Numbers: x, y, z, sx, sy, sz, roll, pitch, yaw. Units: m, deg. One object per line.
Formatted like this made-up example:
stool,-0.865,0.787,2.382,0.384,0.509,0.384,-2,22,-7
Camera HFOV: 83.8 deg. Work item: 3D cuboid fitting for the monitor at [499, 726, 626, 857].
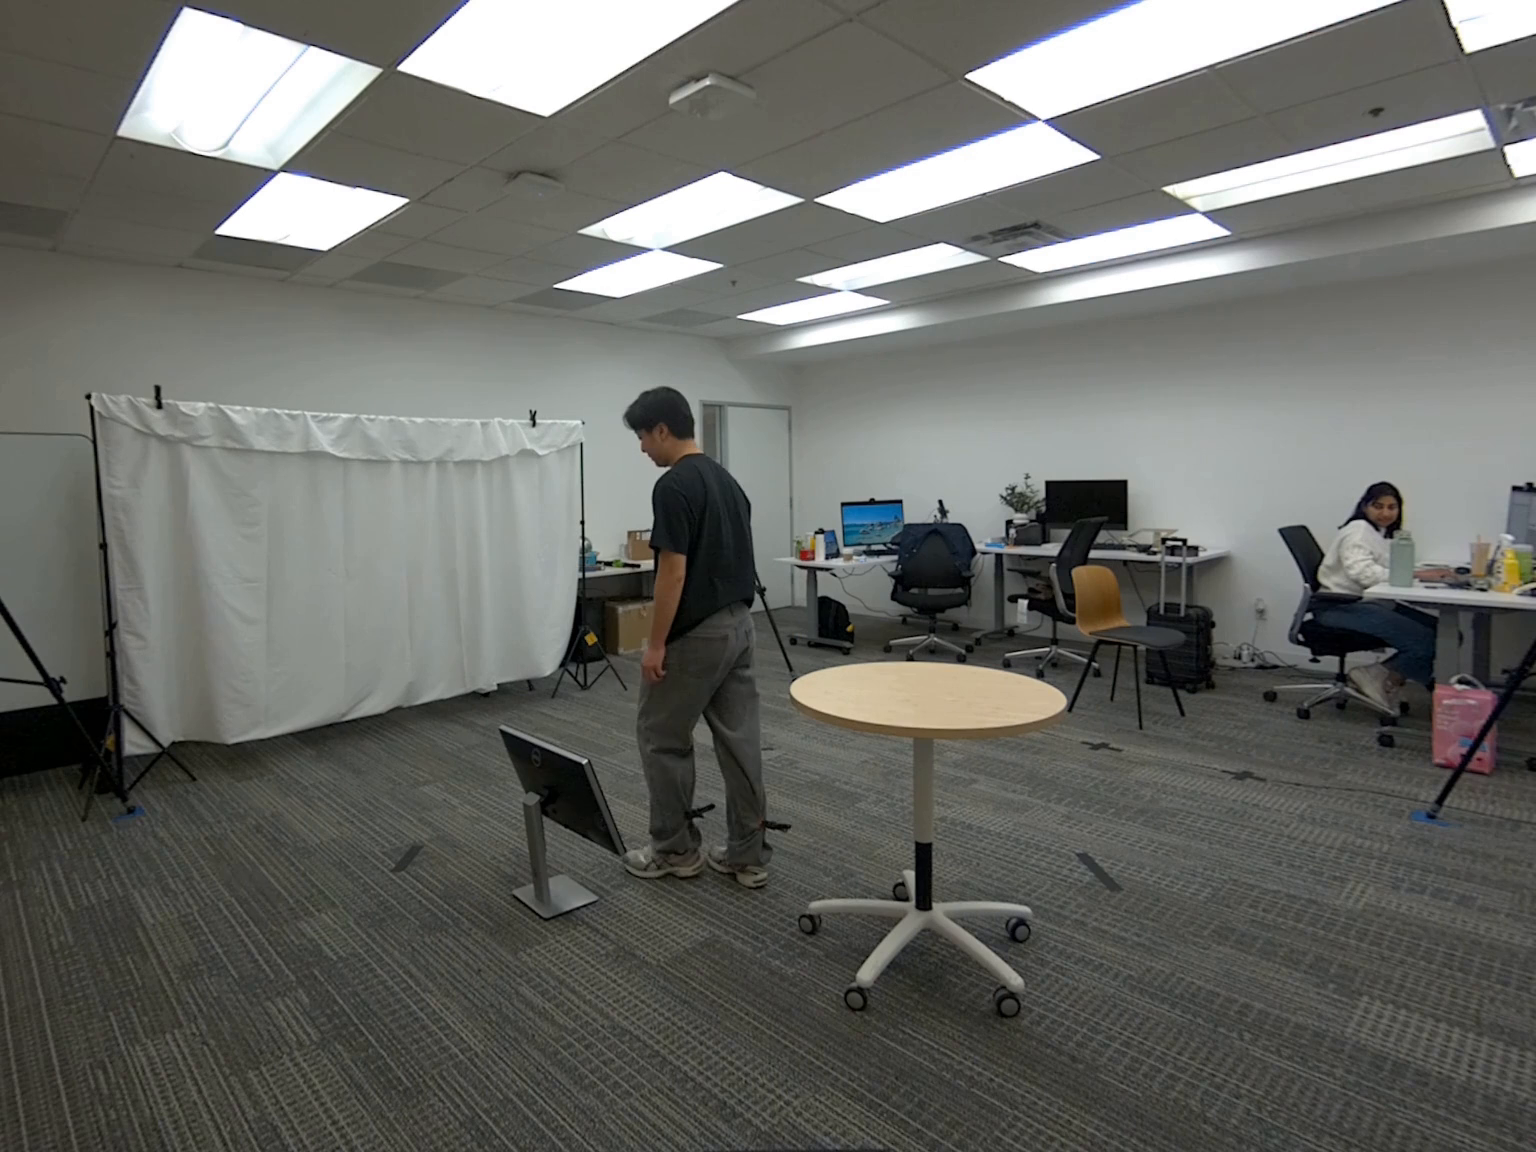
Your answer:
monitor,-0.721,0.821,2.871,0.216,0.563,0.579,-5,6,-40
